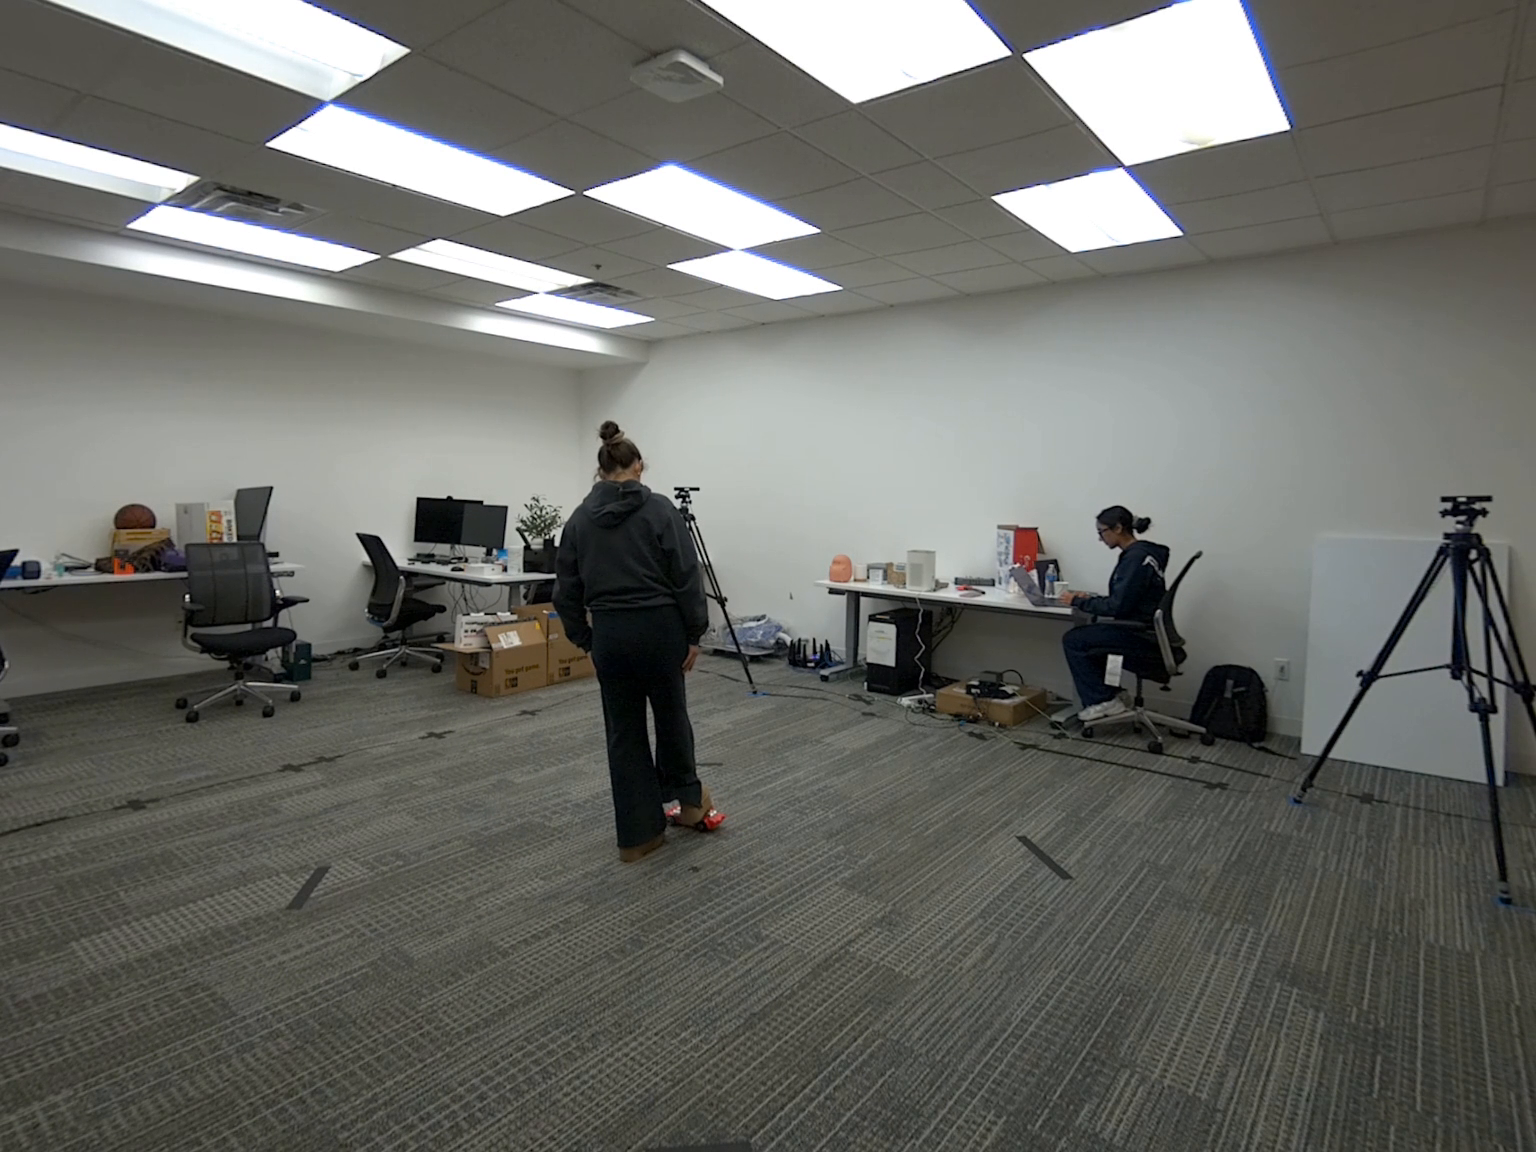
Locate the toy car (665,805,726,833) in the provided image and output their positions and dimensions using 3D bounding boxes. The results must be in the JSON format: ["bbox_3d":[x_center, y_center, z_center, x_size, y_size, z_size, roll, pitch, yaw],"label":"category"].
[{"bbox_3d":[-0.298,0.993,3.509,0.260,0.083,0.127,-8,0,26],"label":"toy car"}]
